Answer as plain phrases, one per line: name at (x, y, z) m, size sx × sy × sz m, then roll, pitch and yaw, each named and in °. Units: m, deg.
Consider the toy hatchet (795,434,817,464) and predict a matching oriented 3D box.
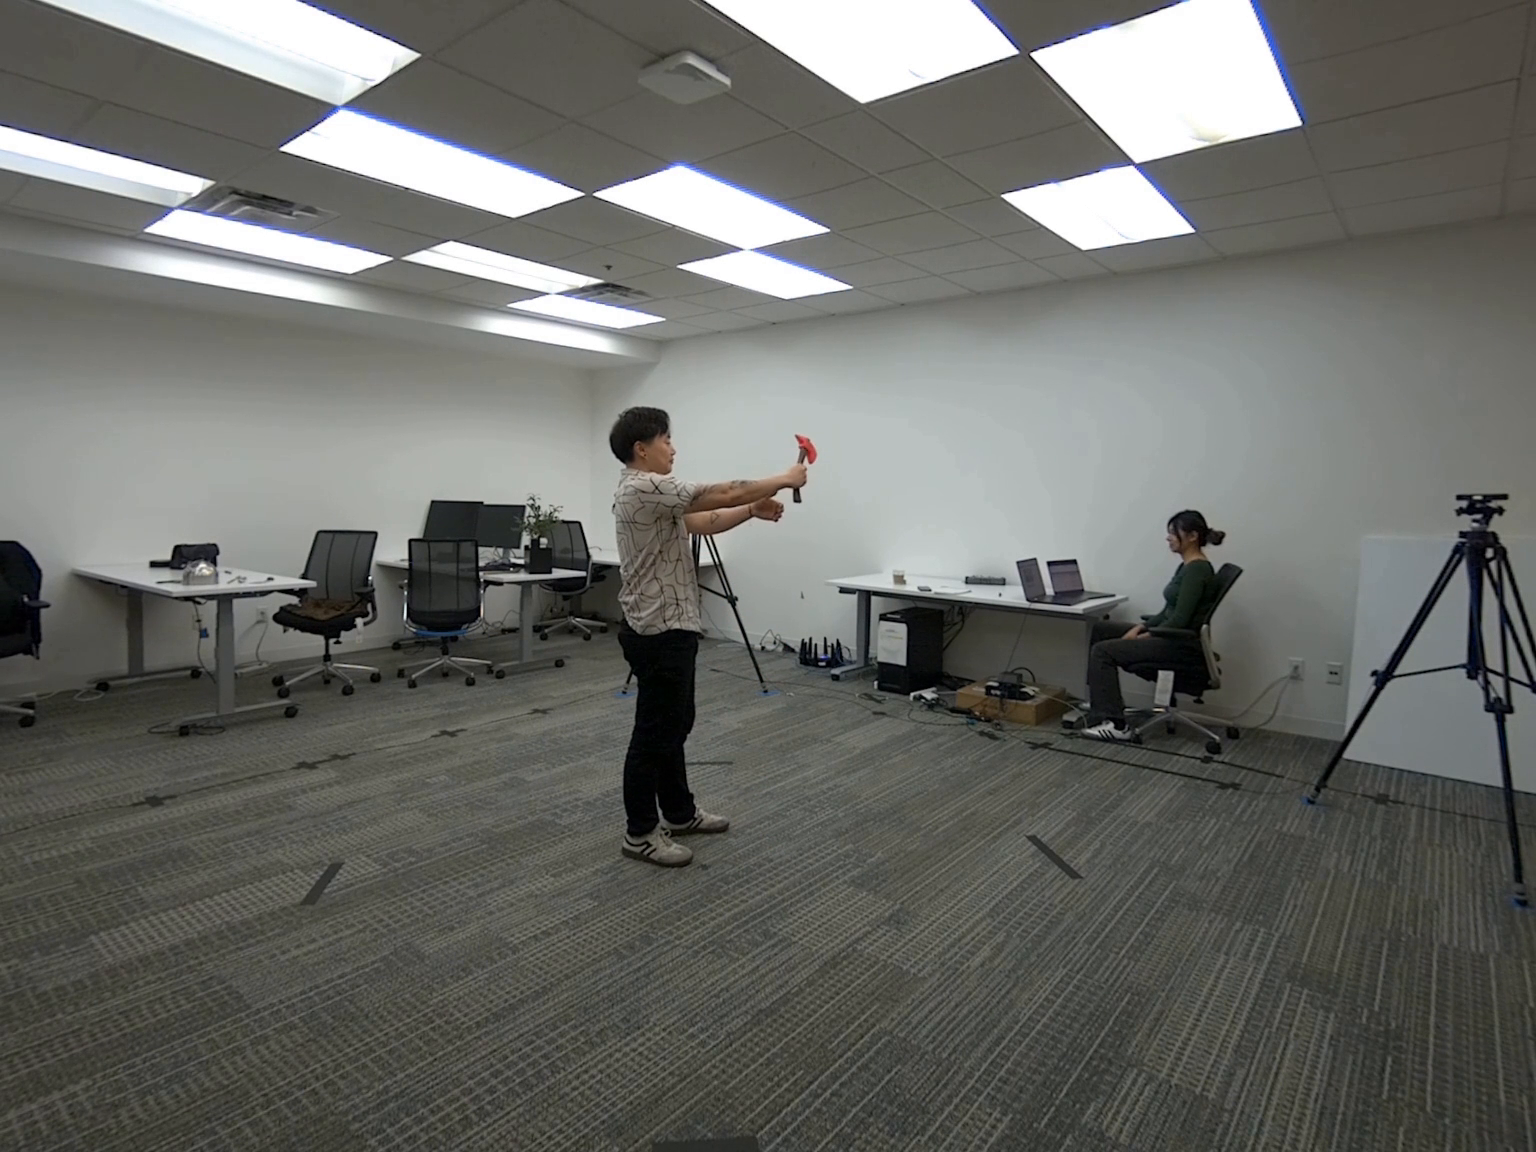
toy hatchet at (0.130, -0.386, 3.150) m, size 0.030 × 0.274 × 0.126 m, roll -14°, pitch -23°, yaw 41°
